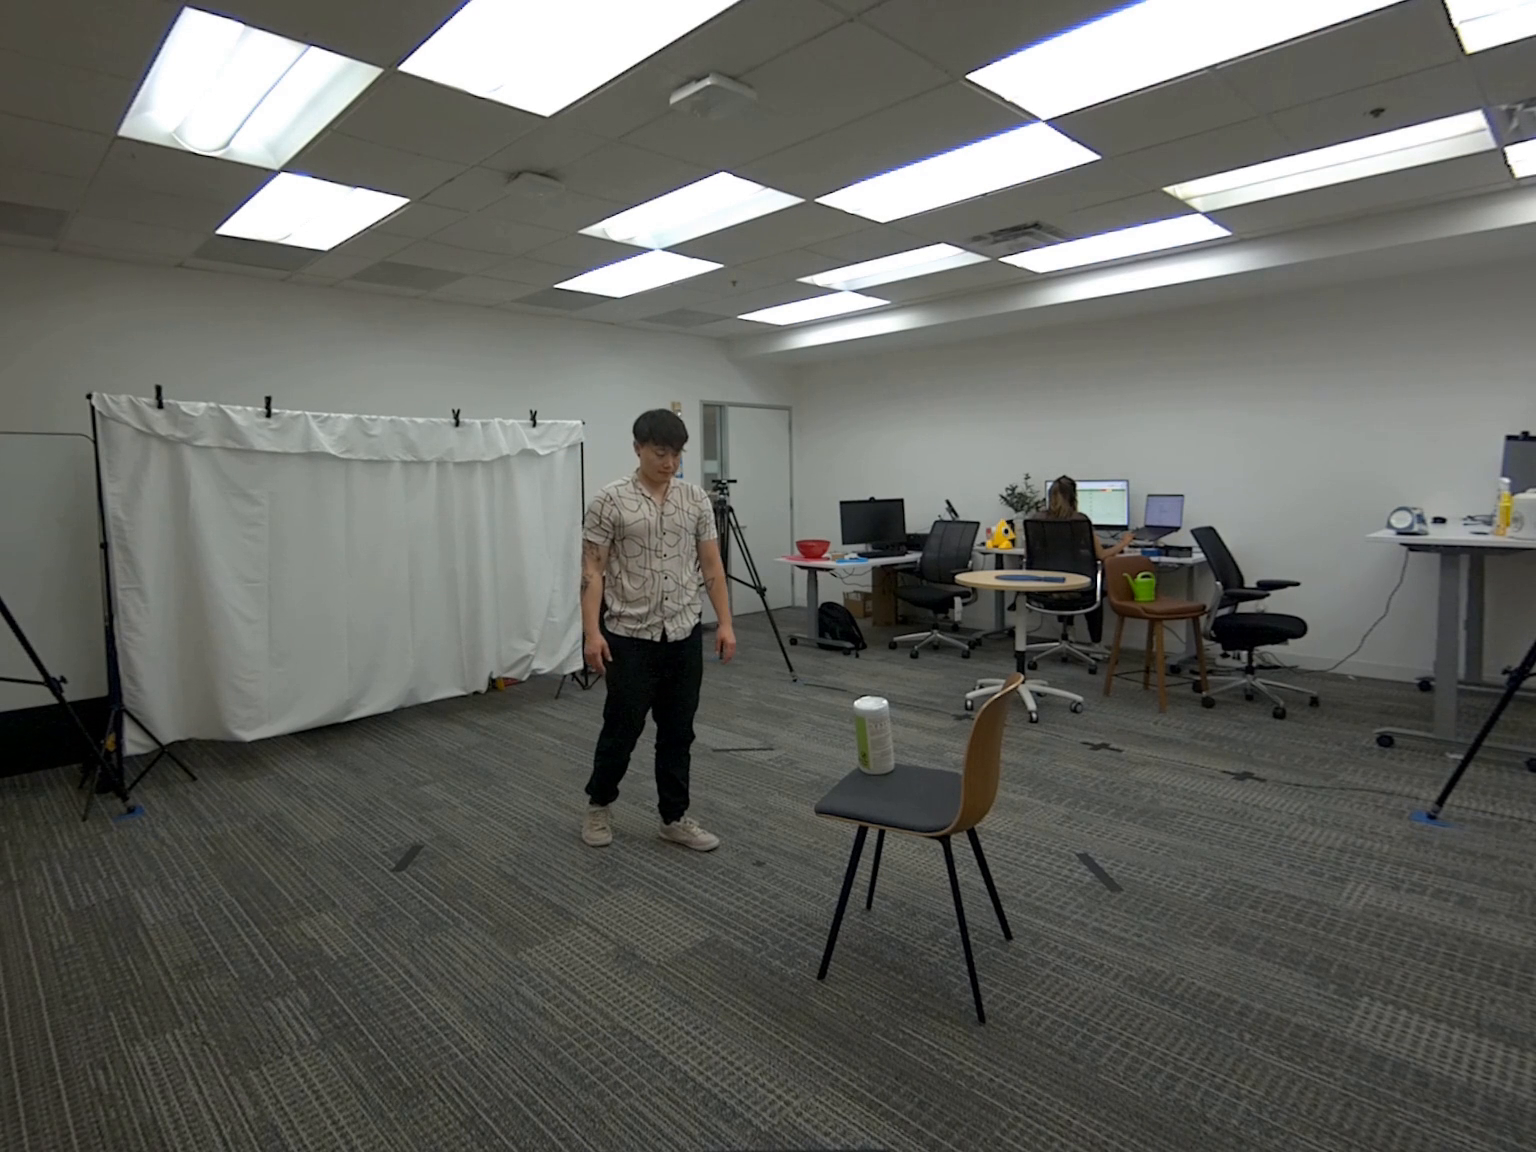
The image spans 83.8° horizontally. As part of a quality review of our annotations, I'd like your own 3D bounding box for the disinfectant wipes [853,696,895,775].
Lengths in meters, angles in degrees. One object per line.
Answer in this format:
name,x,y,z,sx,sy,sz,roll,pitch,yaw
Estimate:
disinfectant wipes,0.337,0.497,2.644,0.118,0.216,0.119,-8,8,0
